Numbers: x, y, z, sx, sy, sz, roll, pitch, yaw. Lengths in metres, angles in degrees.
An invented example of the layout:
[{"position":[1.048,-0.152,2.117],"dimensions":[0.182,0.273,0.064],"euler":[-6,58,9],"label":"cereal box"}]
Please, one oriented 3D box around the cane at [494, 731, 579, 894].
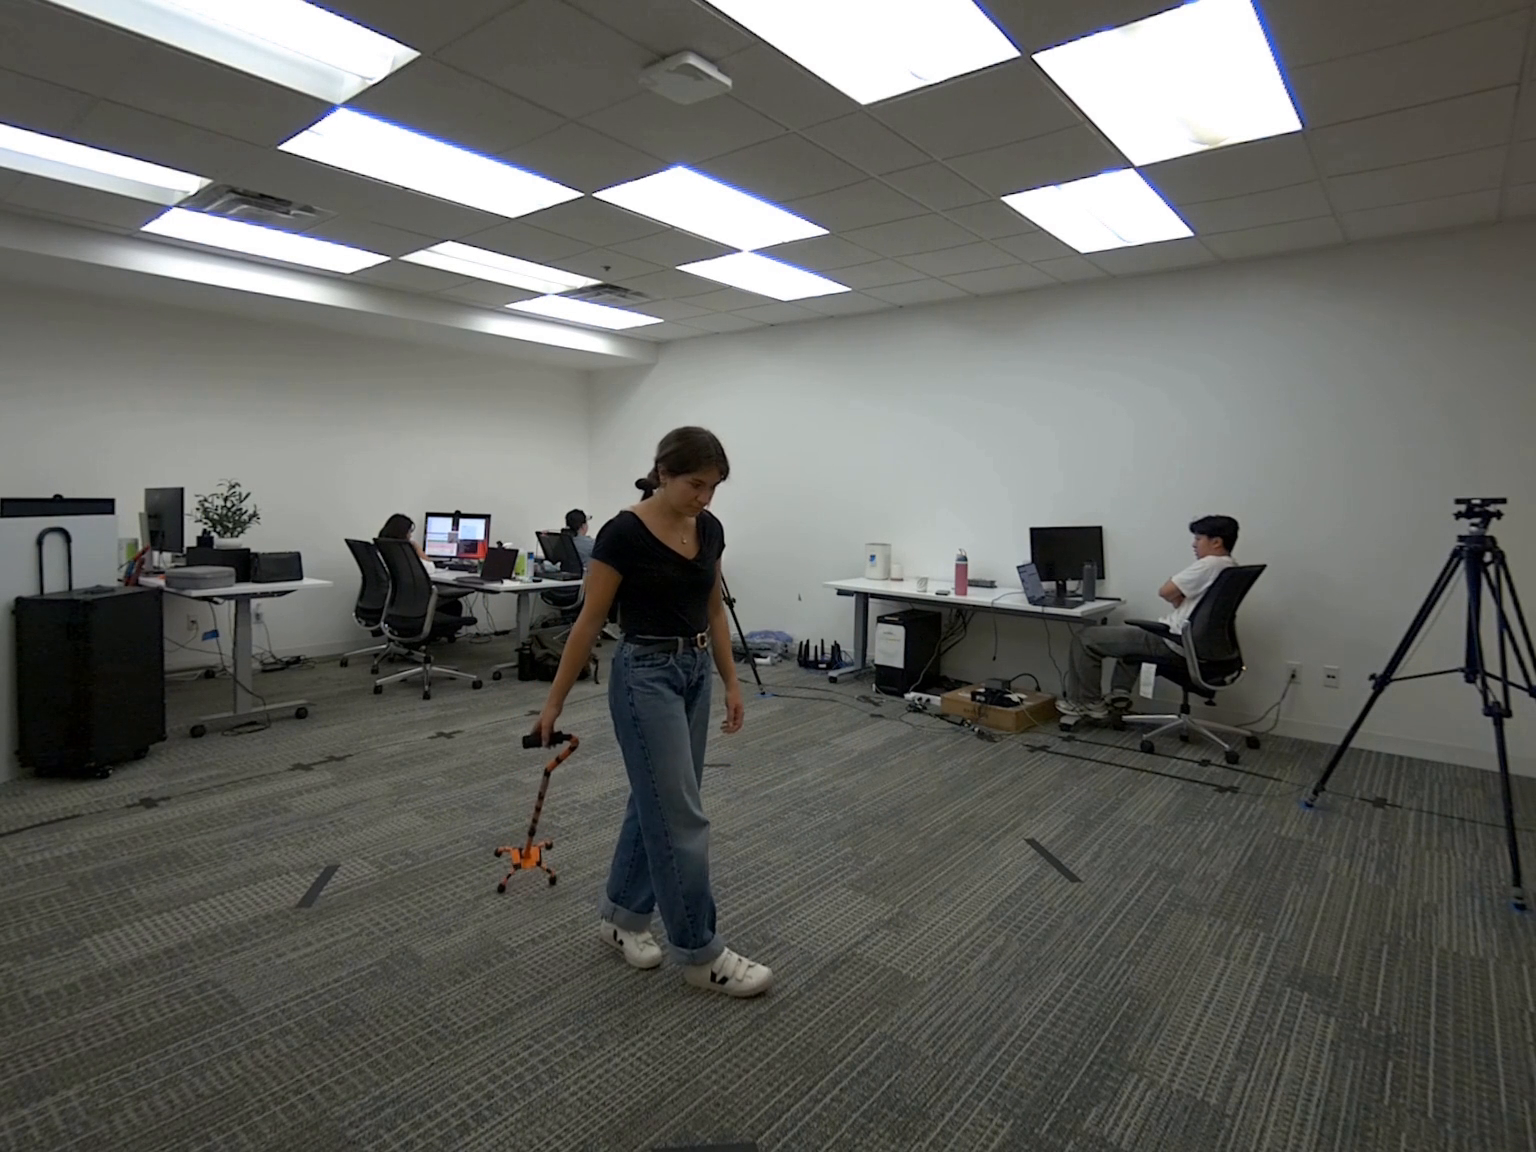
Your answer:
[{"position":[-0.721,0.735,2.658],"dimensions":[0.202,0.157,0.894],"euler":[-1,-39,-22],"label":"cane"}]
